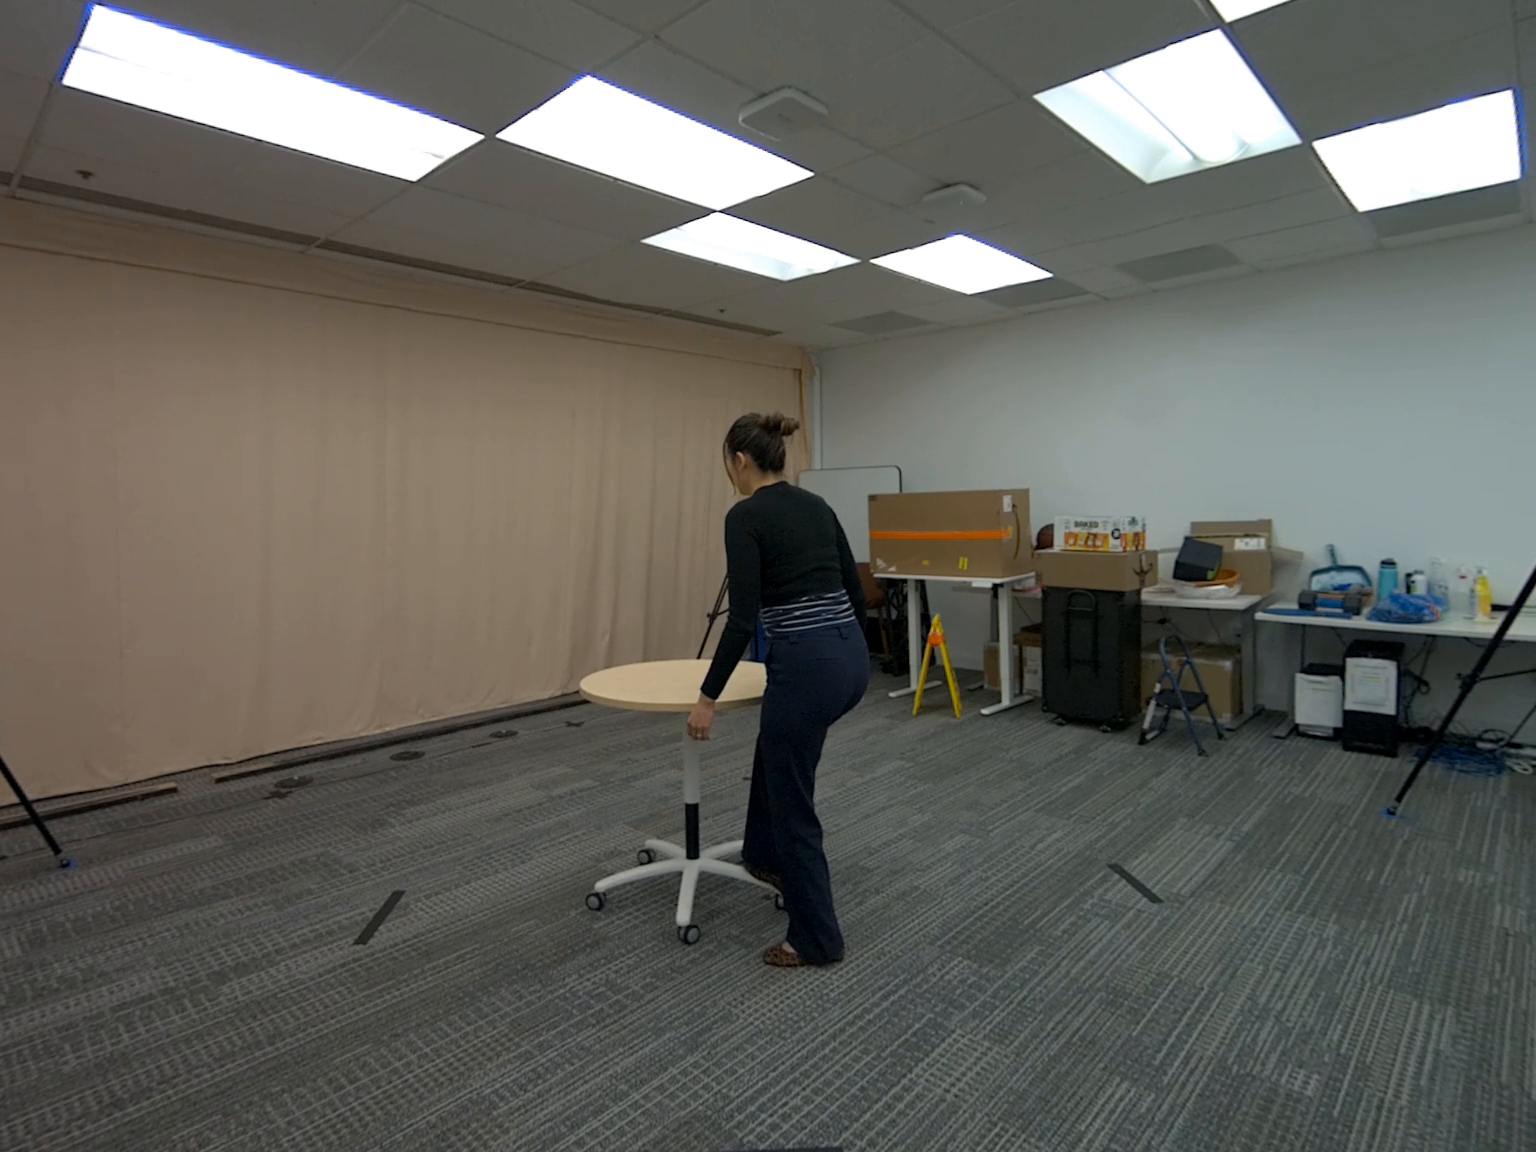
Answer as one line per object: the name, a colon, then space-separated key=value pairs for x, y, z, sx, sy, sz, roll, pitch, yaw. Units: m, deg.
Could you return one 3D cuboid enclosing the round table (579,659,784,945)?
round table: x=-0.284 y=0.756 z=2.995 sx=0.763 sy=0.792 sz=0.766 roll=-1 pitch=3 yaw=-2
